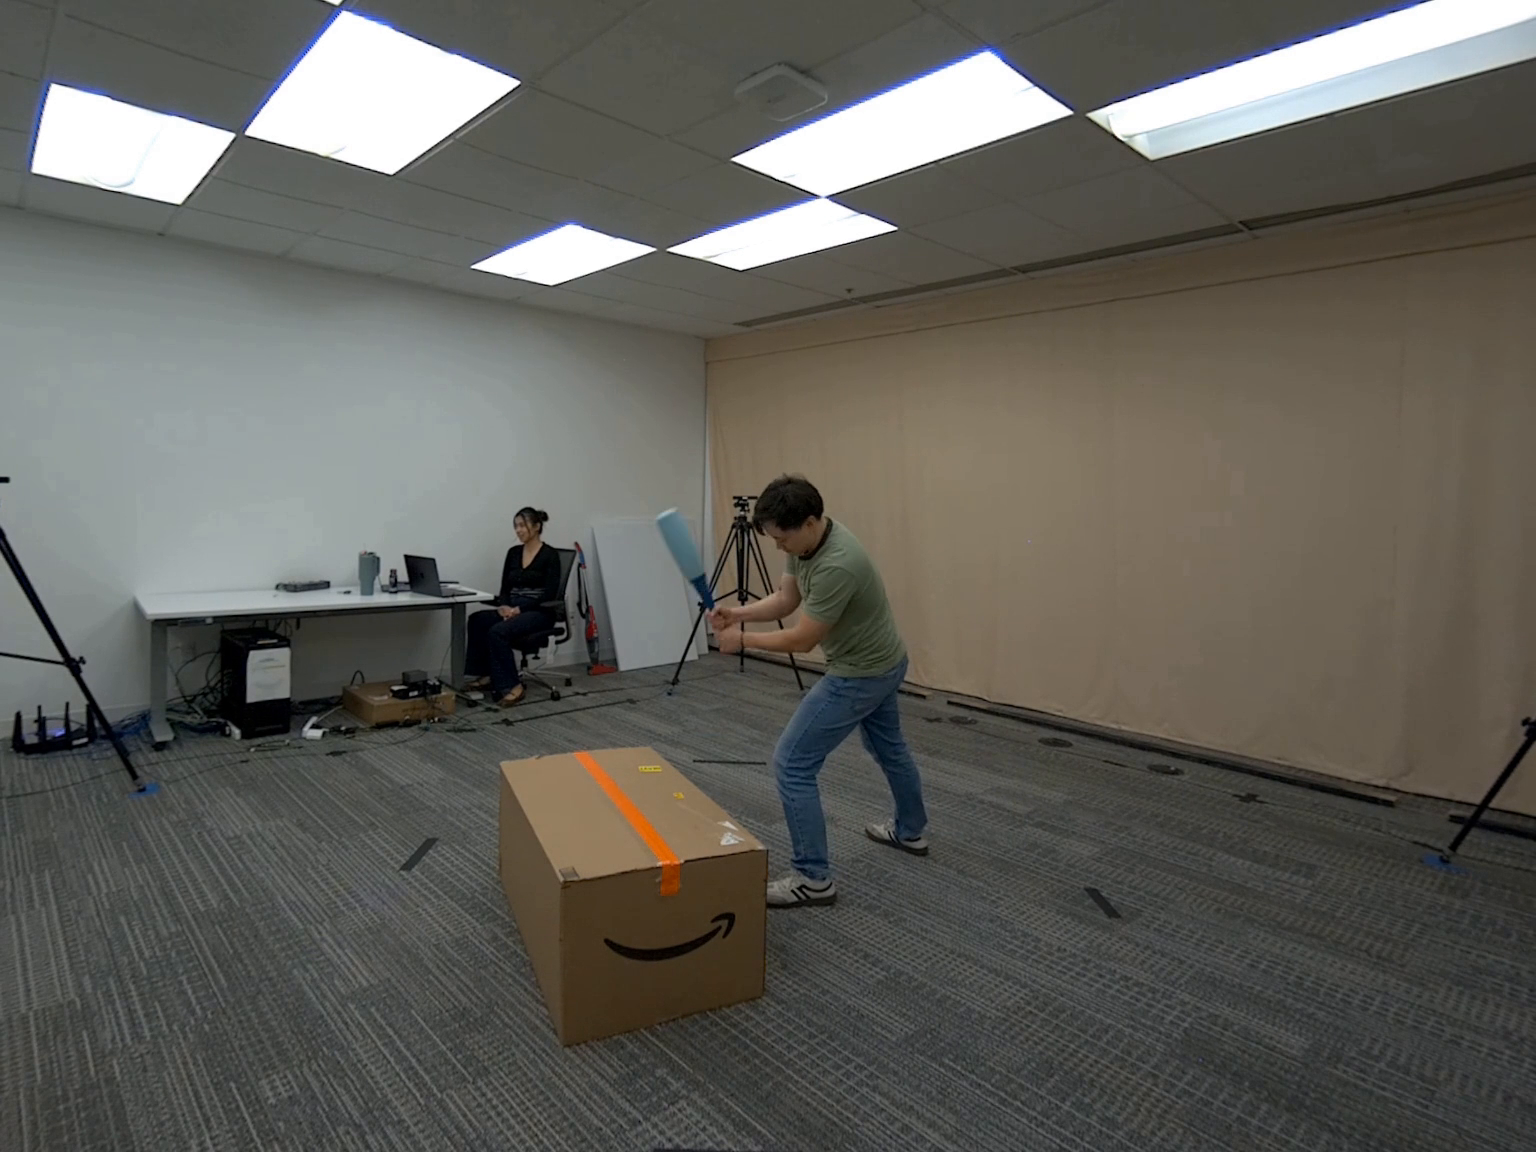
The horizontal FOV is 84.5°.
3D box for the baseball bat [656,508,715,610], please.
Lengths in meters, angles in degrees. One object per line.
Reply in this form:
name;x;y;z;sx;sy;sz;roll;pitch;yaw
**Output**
baseball bat;-0.215;0.034;2.970;0.089;0.539;0.089;-25;7;3
